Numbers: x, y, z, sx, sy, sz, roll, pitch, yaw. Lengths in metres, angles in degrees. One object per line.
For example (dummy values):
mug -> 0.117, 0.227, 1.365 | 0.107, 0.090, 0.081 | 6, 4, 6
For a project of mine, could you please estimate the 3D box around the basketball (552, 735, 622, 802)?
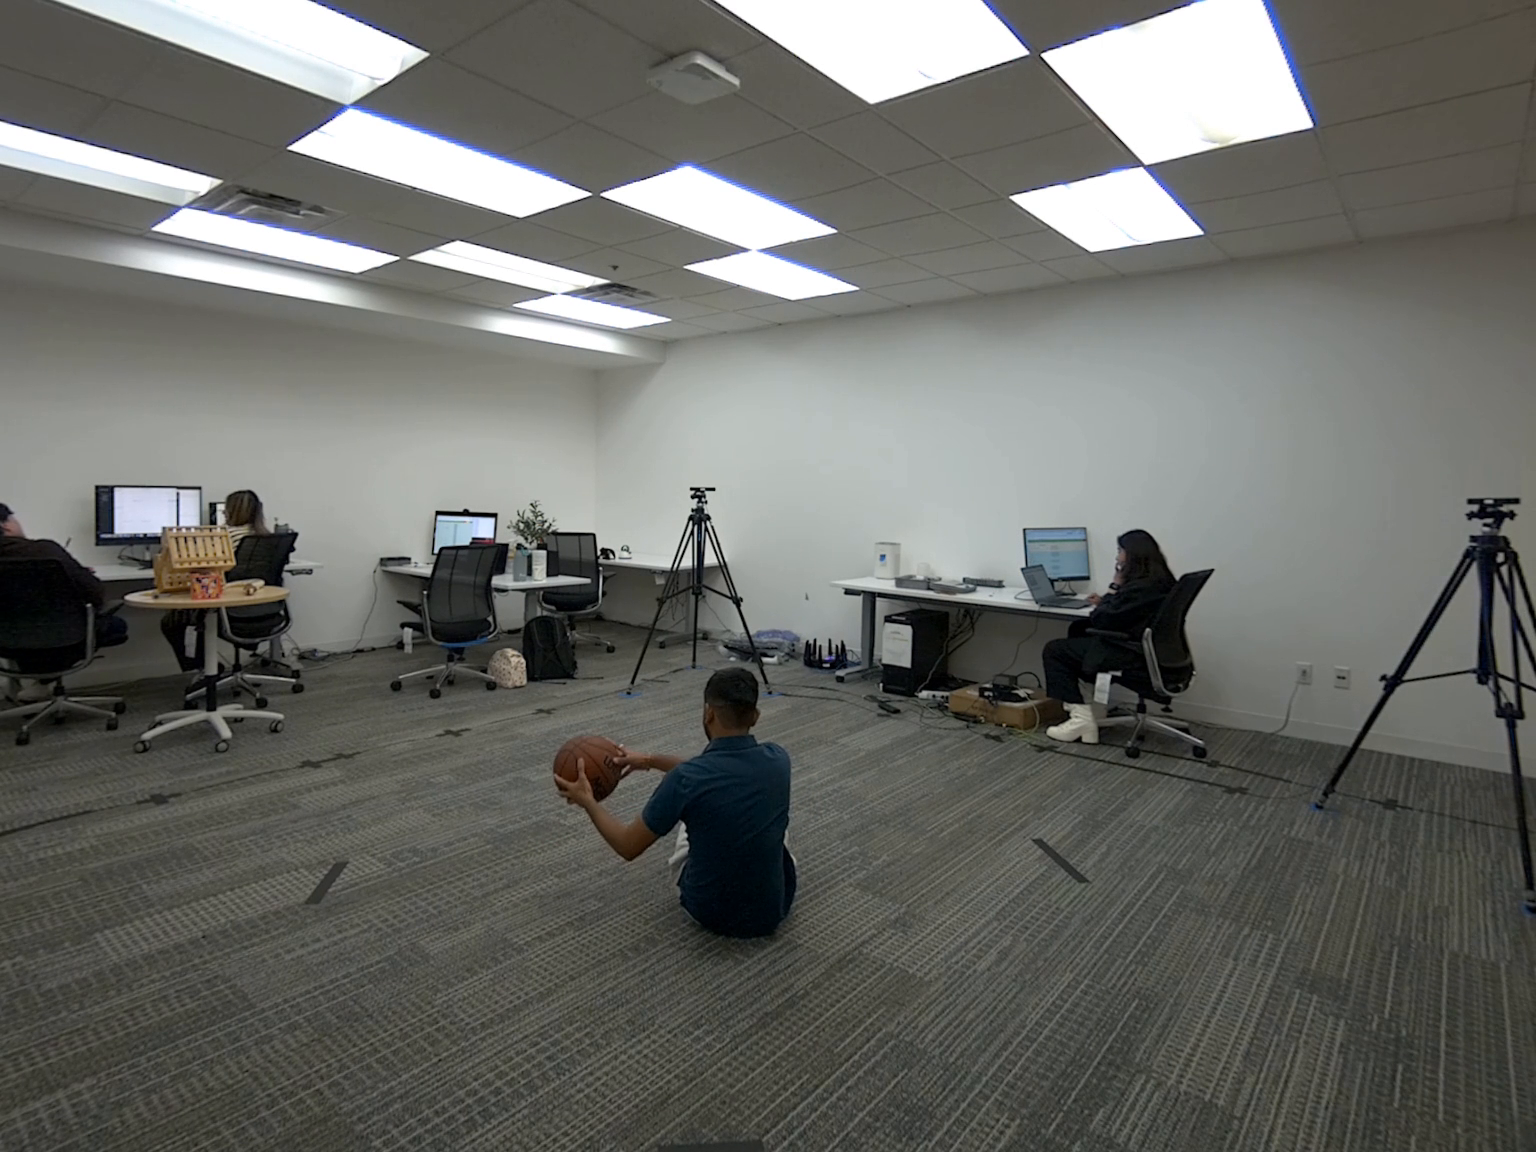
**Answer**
basketball -> -0.642, 0.698, 2.991 | 0.235, 0.235, 0.237 | 1, 4, -2
